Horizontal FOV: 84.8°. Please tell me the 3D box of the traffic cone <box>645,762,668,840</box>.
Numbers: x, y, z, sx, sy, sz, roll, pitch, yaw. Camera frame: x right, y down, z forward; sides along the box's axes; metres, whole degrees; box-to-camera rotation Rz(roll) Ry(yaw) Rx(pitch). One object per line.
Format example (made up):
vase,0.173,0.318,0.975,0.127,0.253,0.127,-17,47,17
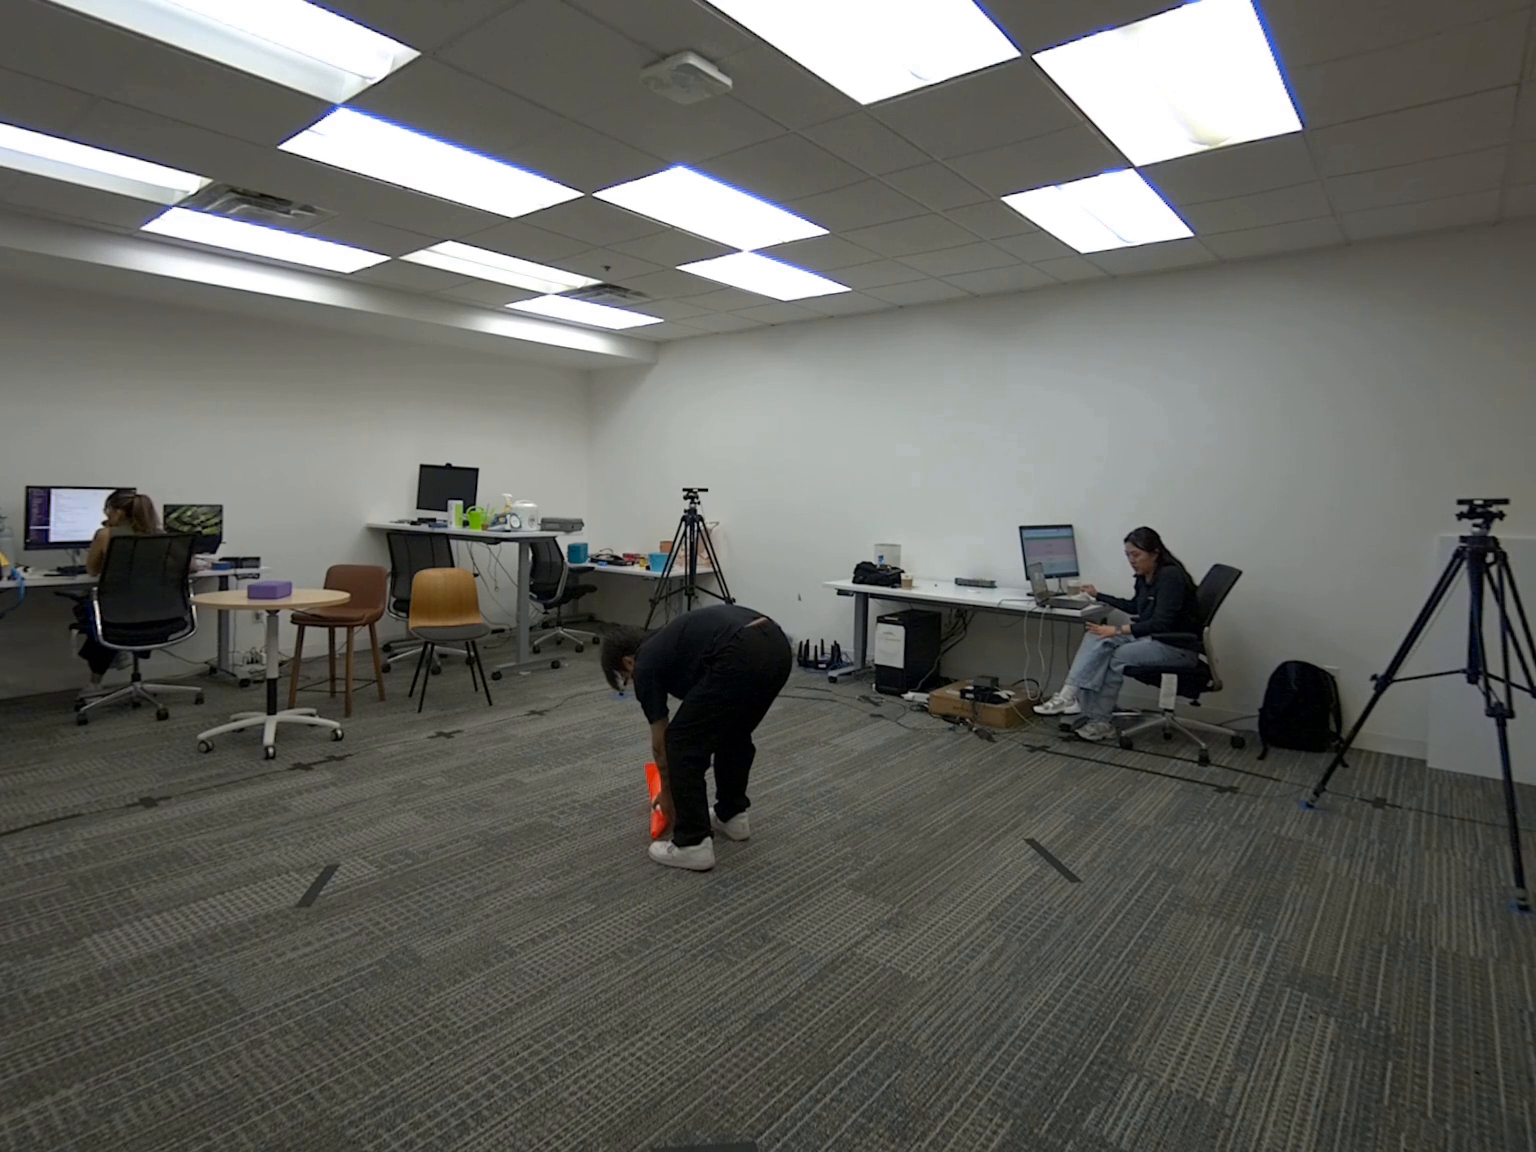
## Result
traffic cone,-0.463,0.969,3.560,0.206,0.199,0.390,-13,19,5
